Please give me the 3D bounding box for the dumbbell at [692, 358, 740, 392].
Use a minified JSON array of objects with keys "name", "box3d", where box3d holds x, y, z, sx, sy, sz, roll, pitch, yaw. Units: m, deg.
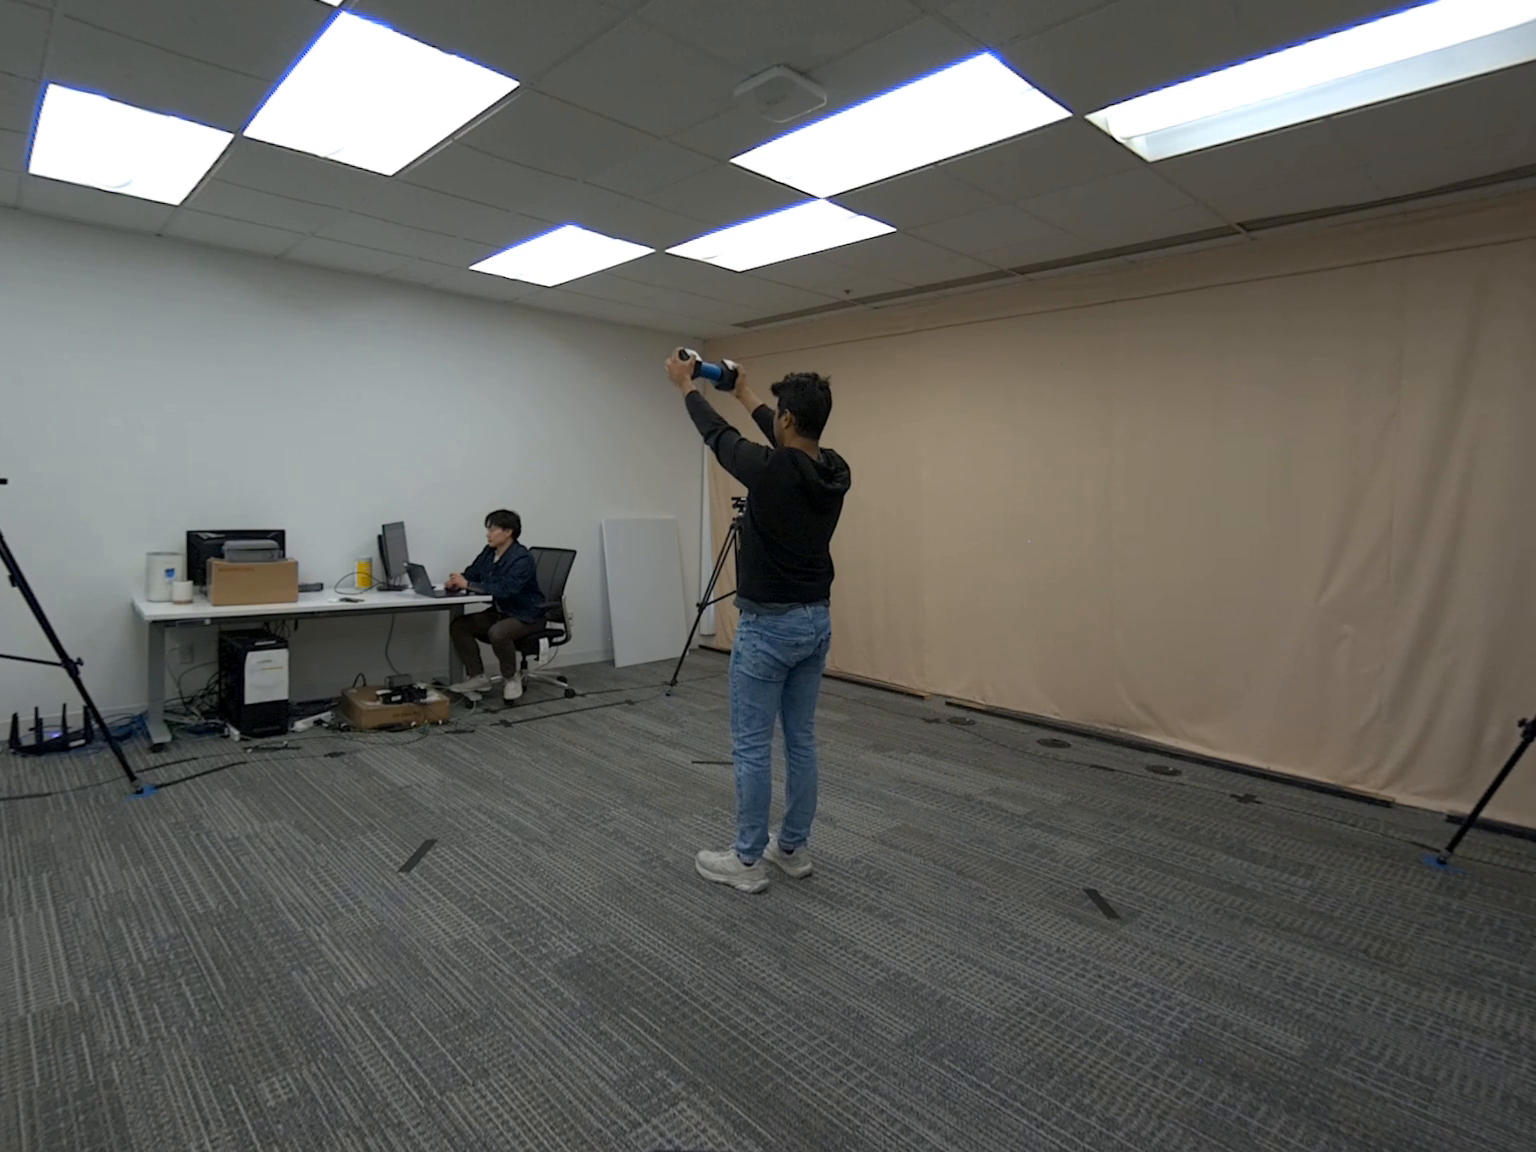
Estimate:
[{"name":"dumbbell","box3d":[-0.249,-0.807,3.301,0.286,0.122,0.112,1,20,-43]}]
